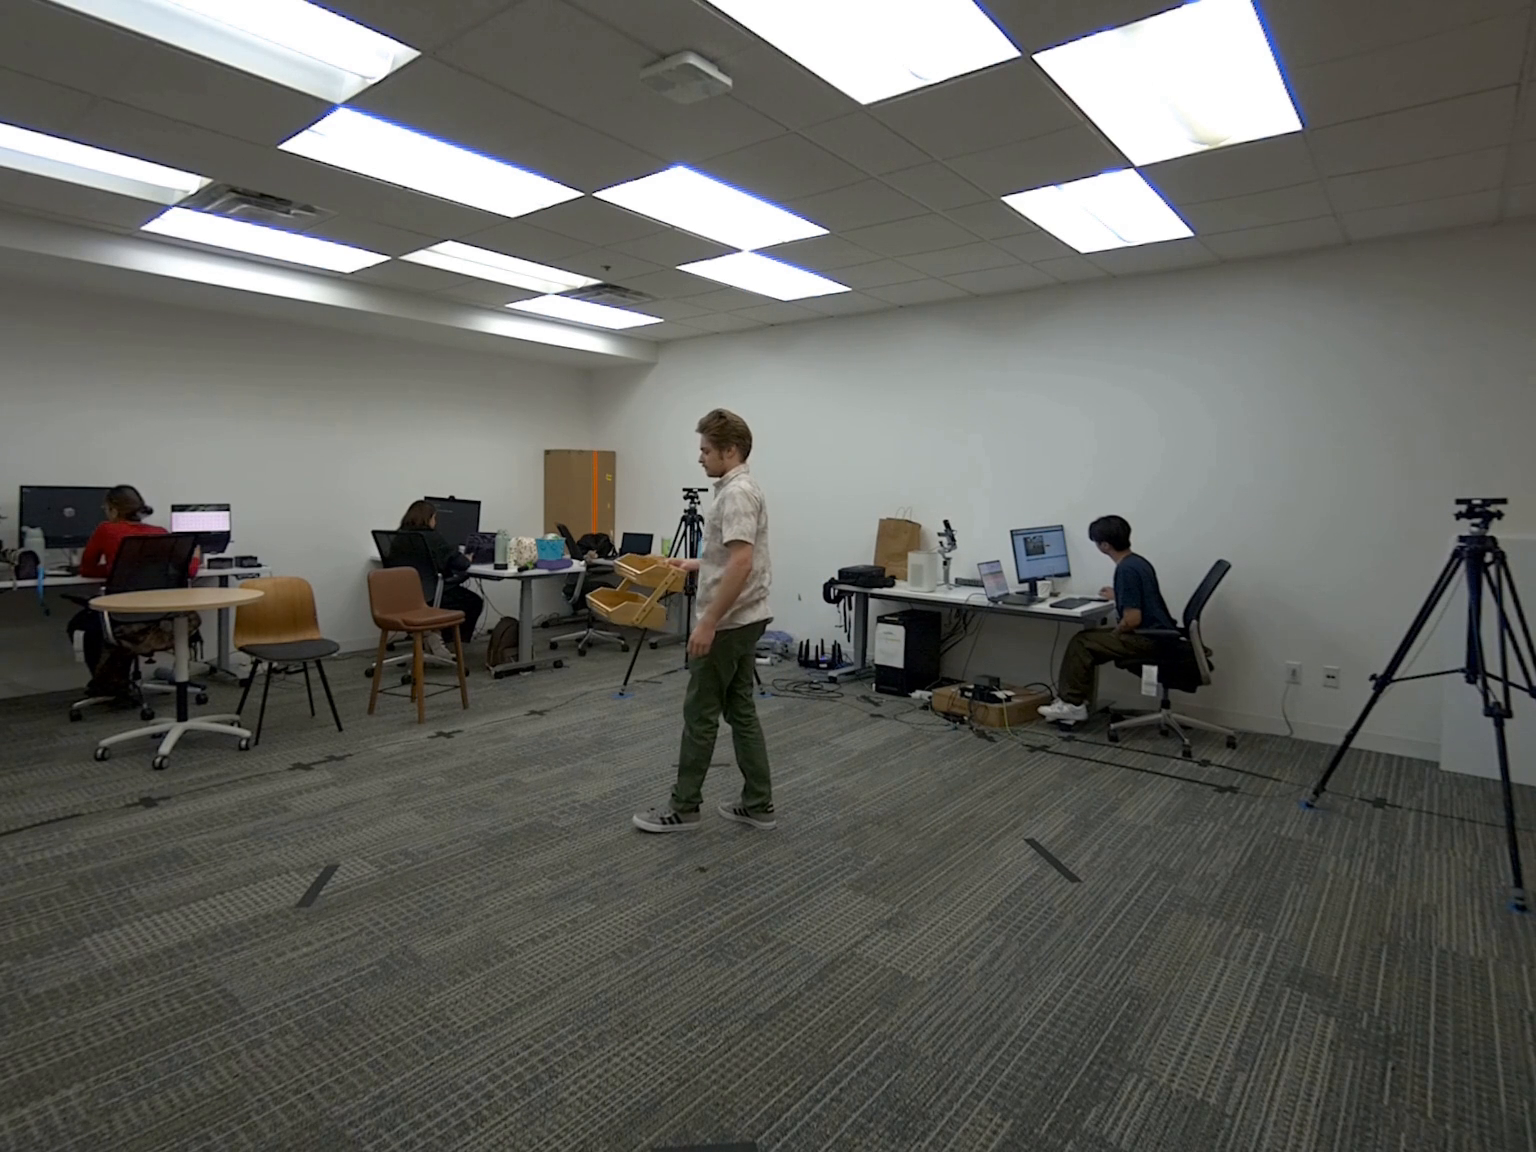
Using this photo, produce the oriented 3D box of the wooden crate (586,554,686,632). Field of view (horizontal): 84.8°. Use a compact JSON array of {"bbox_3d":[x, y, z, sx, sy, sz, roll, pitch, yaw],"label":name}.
[{"bbox_3d":[-0.581,0.047,3.651,0.292,0.273,0.336,12,4,-31],"label":"wooden crate"}]
